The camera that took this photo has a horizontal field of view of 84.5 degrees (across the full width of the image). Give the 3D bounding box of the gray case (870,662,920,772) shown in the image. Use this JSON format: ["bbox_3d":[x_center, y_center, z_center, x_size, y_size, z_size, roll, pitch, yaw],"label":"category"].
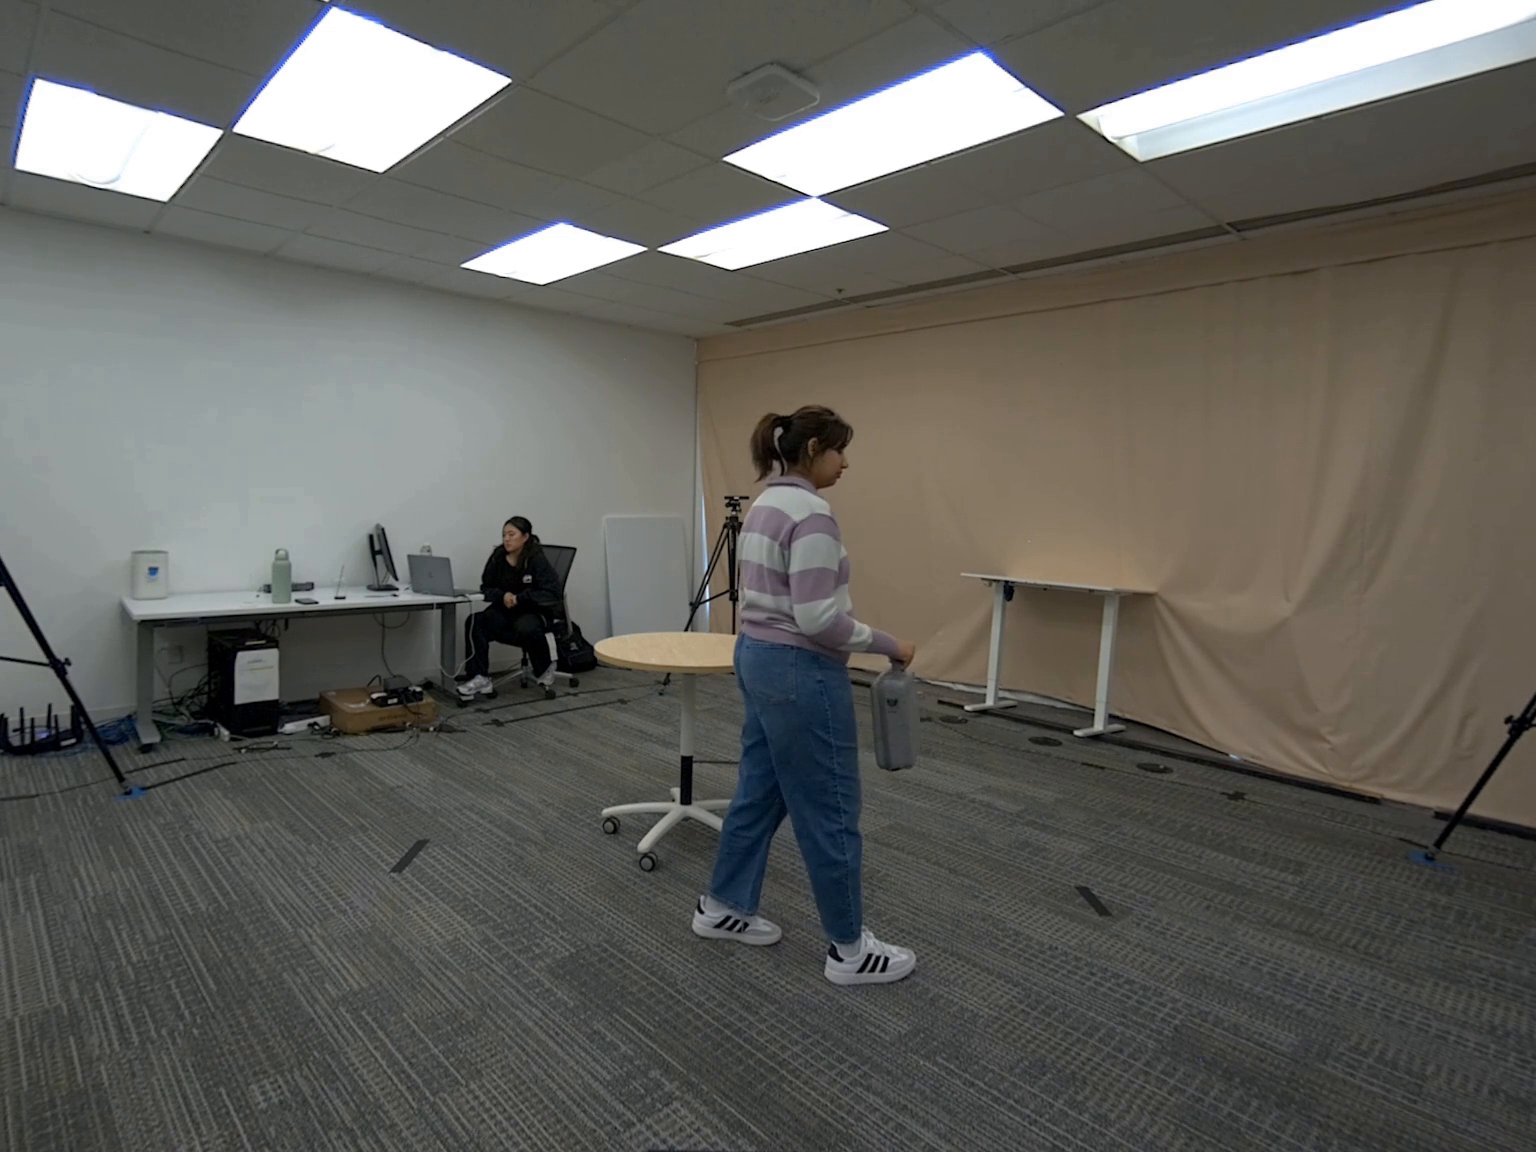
[{"bbox_3d":[0.369,0.407,2.447,0.106,0.260,0.254,-4,3,18],"label":"gray case"}]
